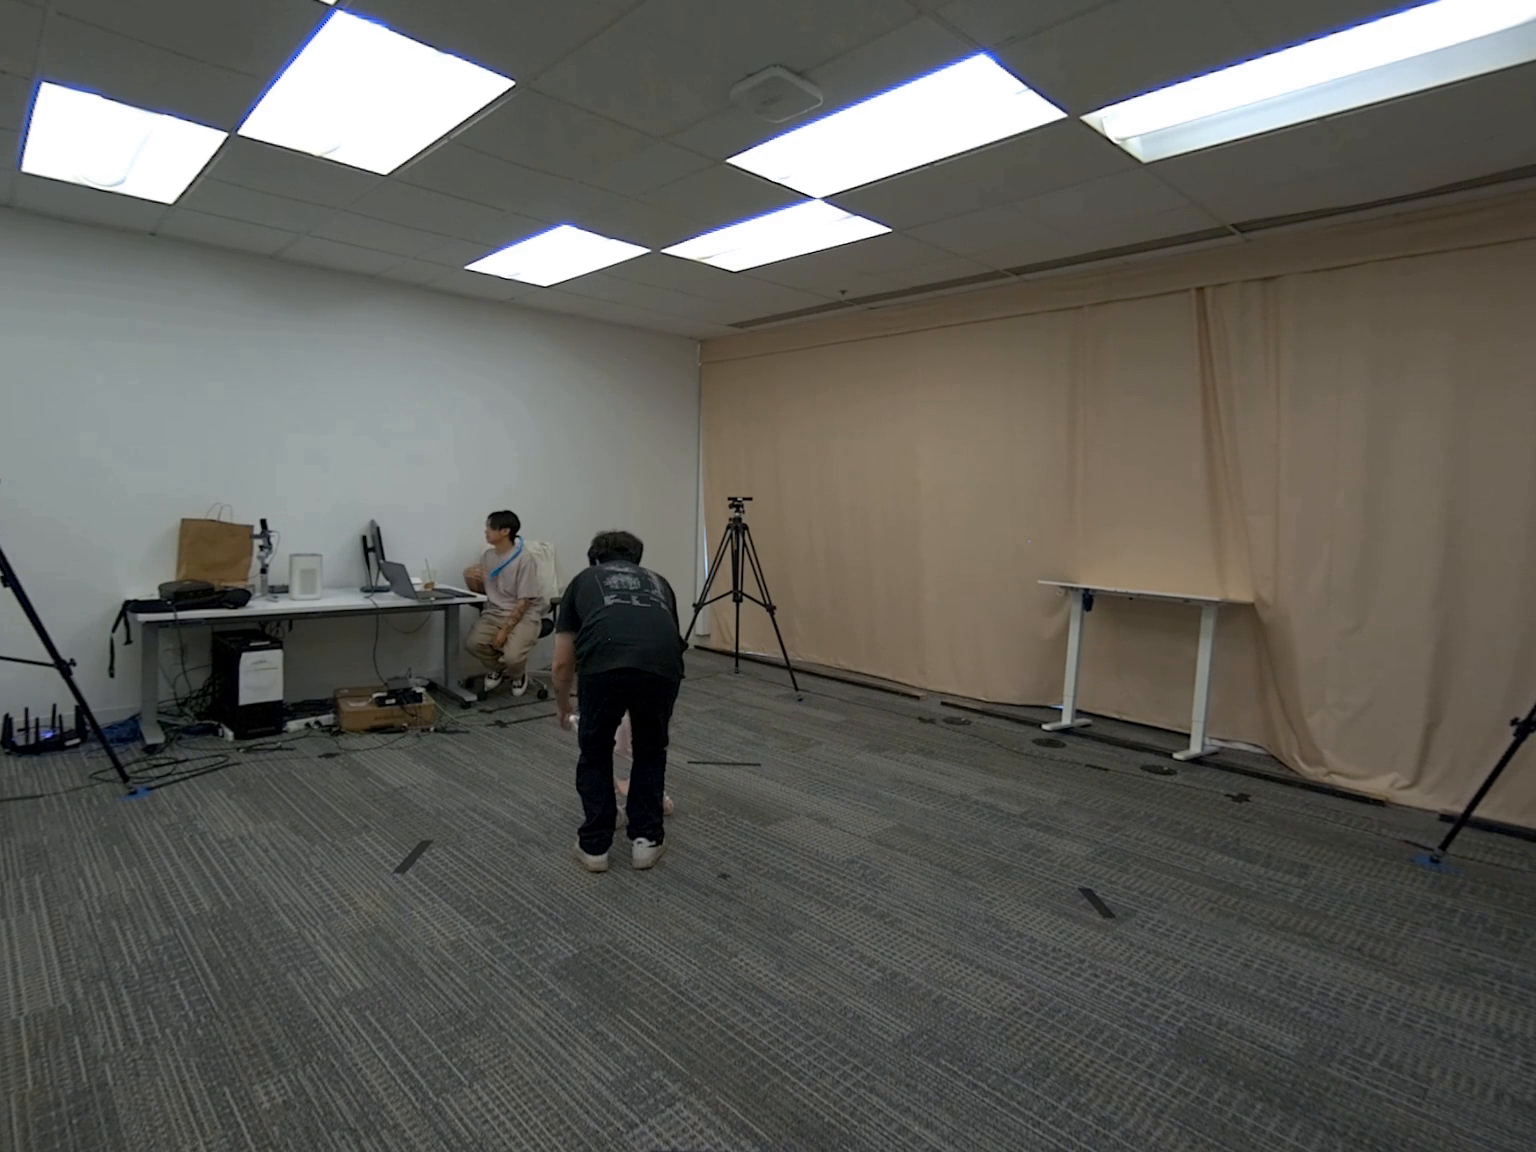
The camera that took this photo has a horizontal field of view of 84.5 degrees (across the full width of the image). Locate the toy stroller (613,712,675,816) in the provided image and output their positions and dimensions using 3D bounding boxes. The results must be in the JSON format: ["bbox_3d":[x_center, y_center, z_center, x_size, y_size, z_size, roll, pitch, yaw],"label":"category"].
[{"bbox_3d":[-0.623,0.824,3.636,0.339,0.532,0.285,-15,7,-11],"label":"toy stroller"}]
